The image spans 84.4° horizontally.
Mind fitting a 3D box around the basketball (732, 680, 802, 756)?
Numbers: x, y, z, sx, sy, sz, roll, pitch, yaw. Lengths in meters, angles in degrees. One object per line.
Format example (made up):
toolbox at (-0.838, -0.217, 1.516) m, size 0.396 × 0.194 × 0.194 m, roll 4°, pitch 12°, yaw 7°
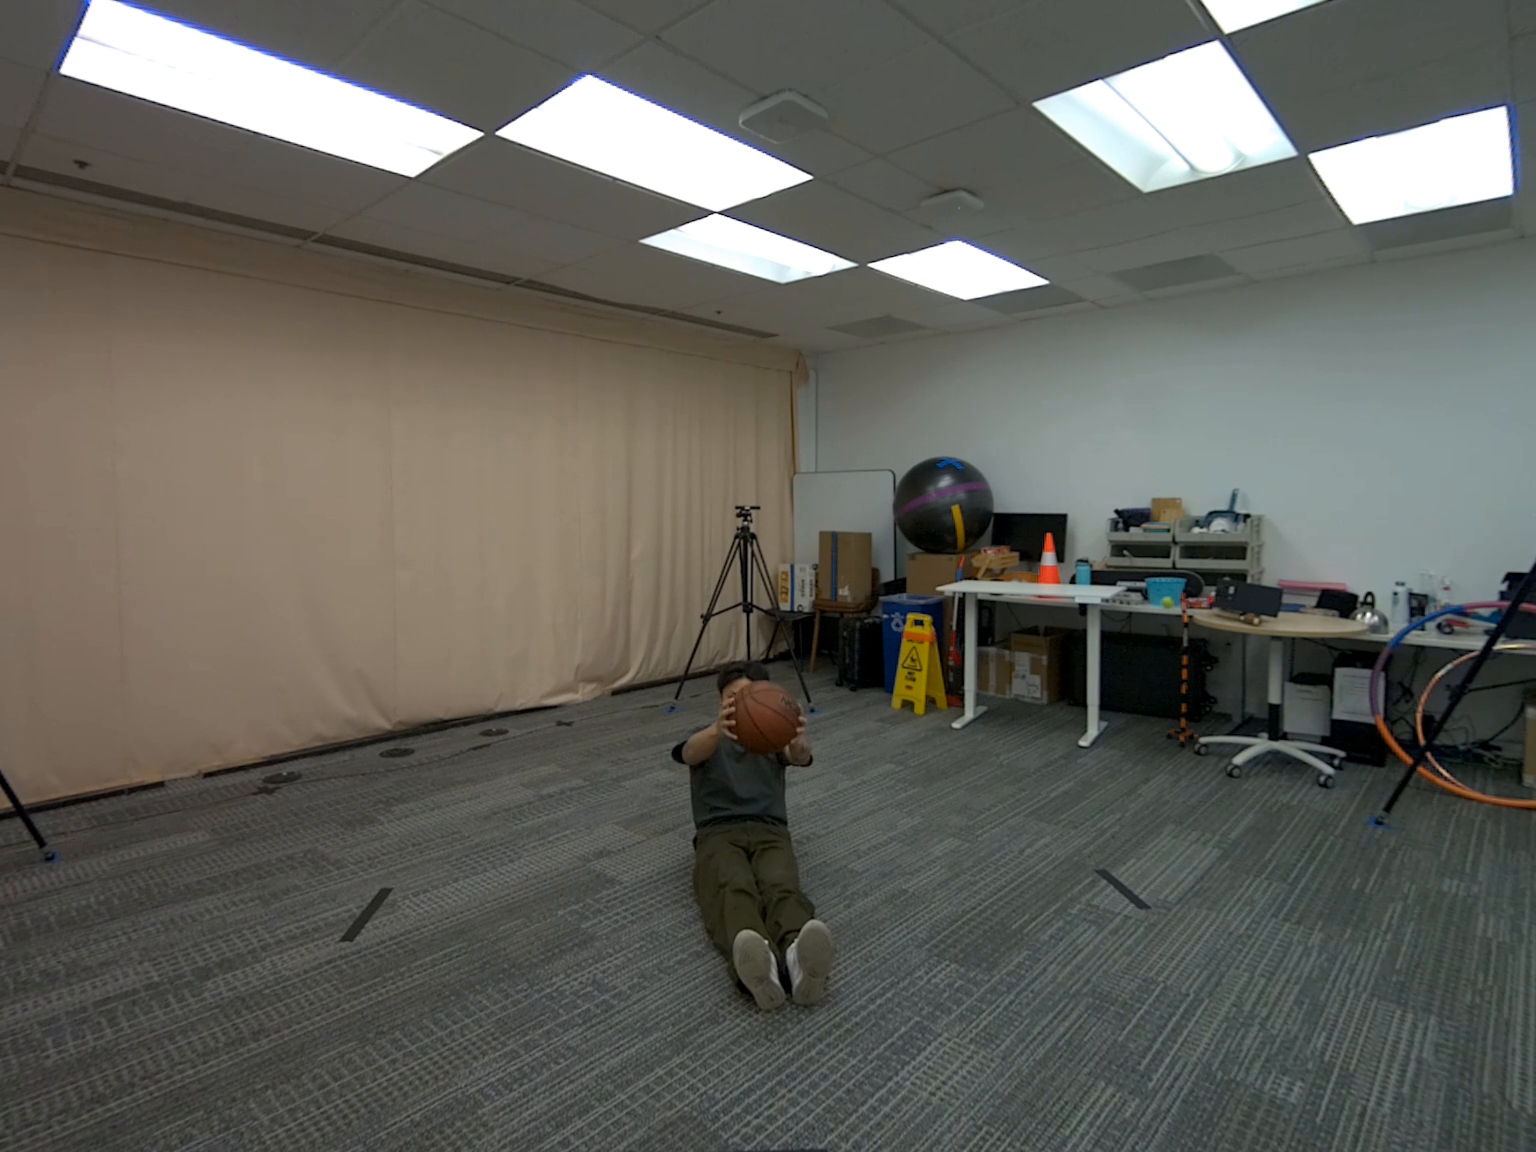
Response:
basketball at (-0.016, 0.472, 2.773) m, size 0.236 × 0.235 × 0.237 m, roll 0°, pitch 4°, yaw -2°
